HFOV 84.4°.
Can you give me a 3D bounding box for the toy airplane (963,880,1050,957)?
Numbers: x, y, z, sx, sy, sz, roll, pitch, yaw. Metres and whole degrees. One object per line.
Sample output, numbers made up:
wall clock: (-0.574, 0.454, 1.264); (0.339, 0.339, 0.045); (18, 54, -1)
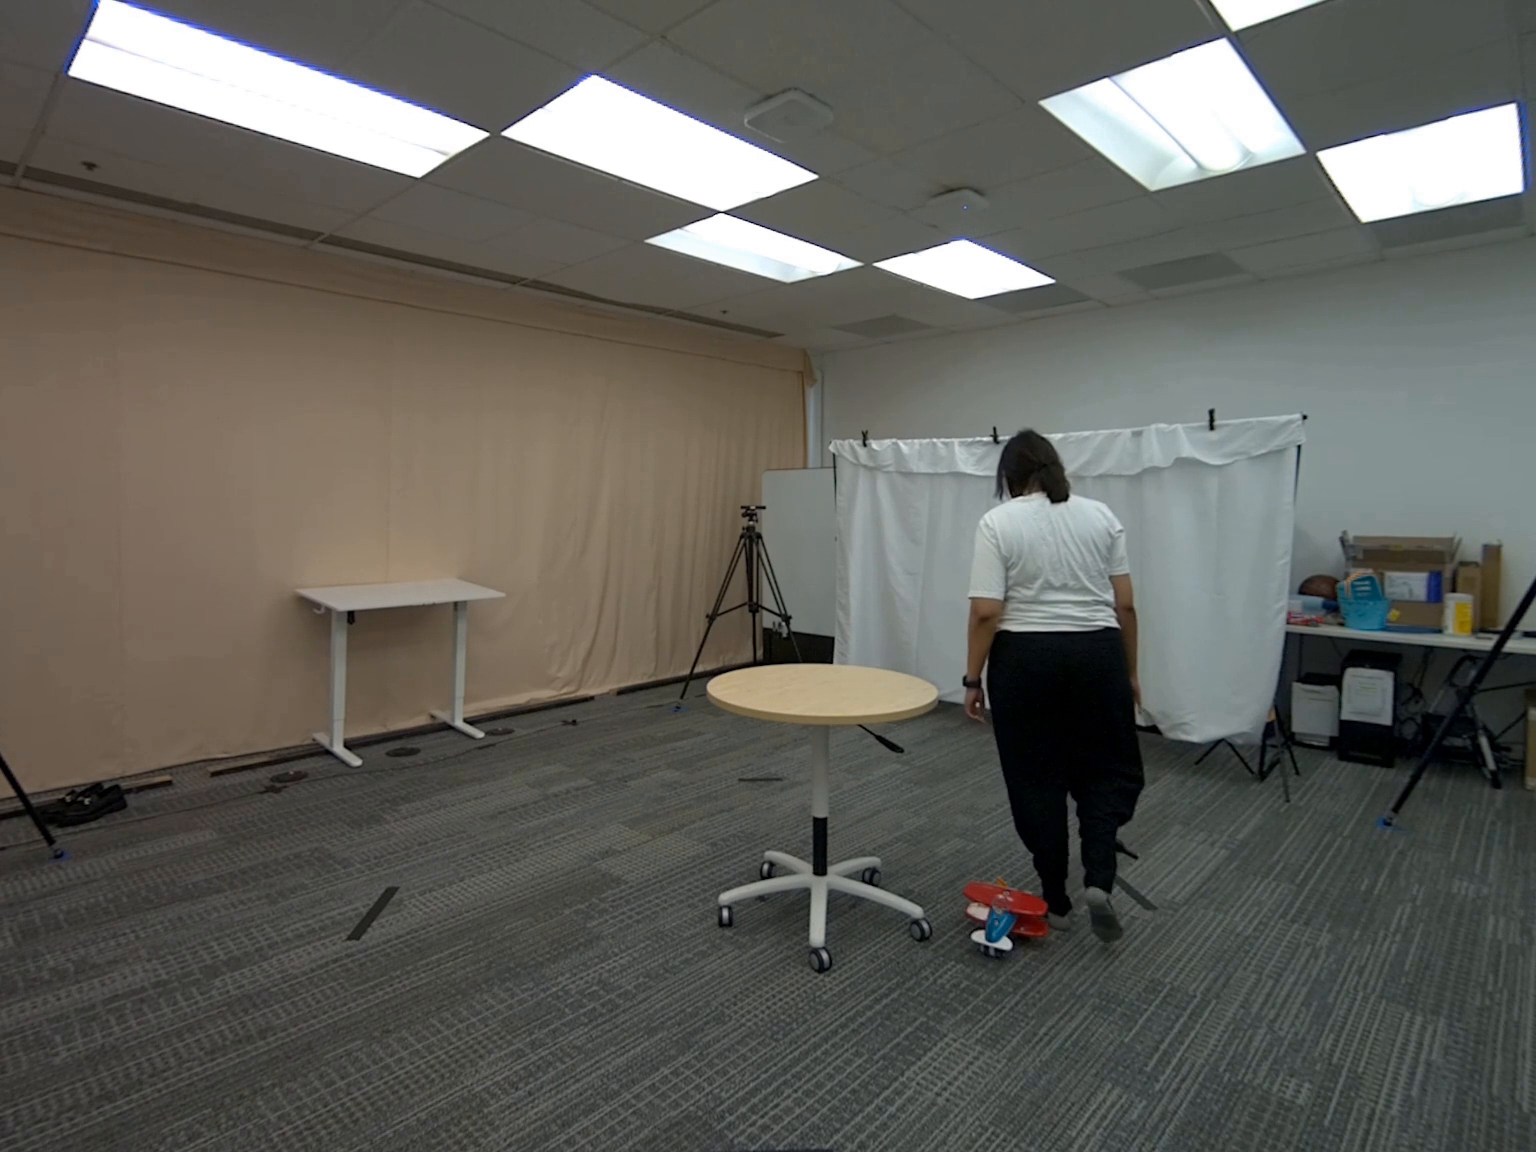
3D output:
toy airplane: (0.768, 1.096, 2.659); (0.253, 0.156, 0.258); (1, 4, 5)
